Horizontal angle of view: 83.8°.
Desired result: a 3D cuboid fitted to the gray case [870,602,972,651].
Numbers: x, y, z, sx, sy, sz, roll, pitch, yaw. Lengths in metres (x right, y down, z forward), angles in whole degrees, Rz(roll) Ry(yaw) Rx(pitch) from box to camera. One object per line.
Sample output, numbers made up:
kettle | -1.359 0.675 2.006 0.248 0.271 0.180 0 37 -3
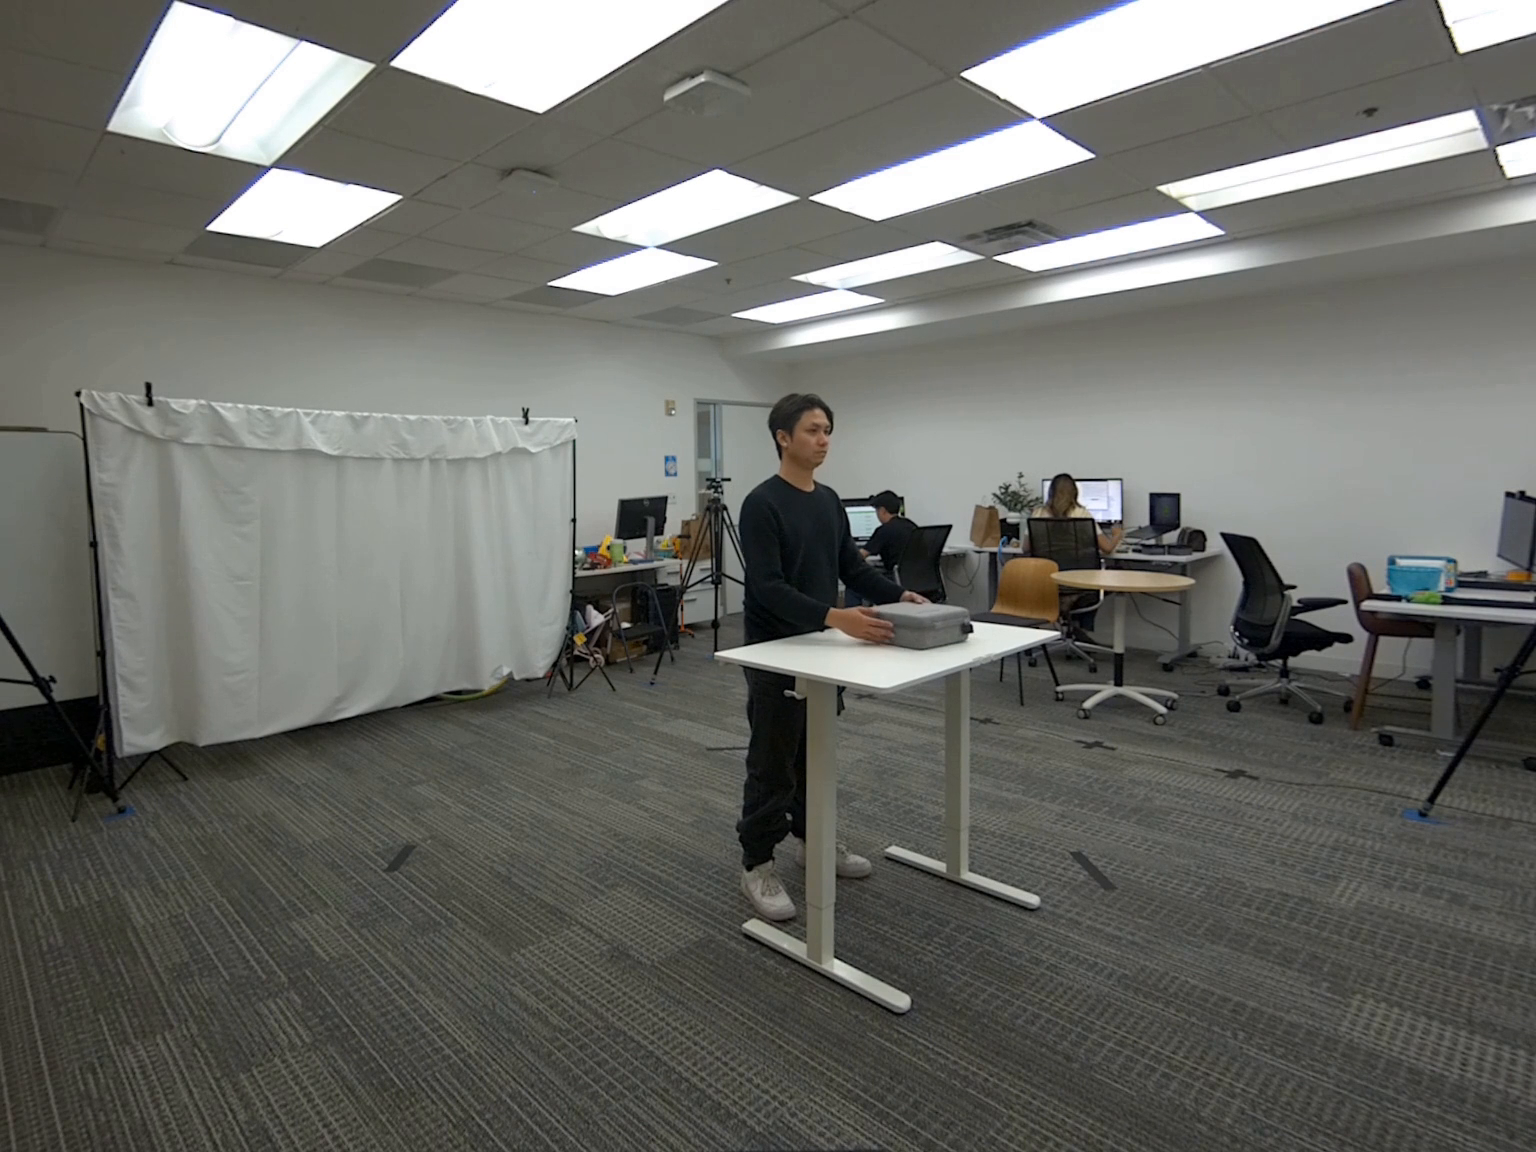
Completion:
gray case | 0.459 0.150 2.660 0.250 0.104 0.269 -7 9 -39
